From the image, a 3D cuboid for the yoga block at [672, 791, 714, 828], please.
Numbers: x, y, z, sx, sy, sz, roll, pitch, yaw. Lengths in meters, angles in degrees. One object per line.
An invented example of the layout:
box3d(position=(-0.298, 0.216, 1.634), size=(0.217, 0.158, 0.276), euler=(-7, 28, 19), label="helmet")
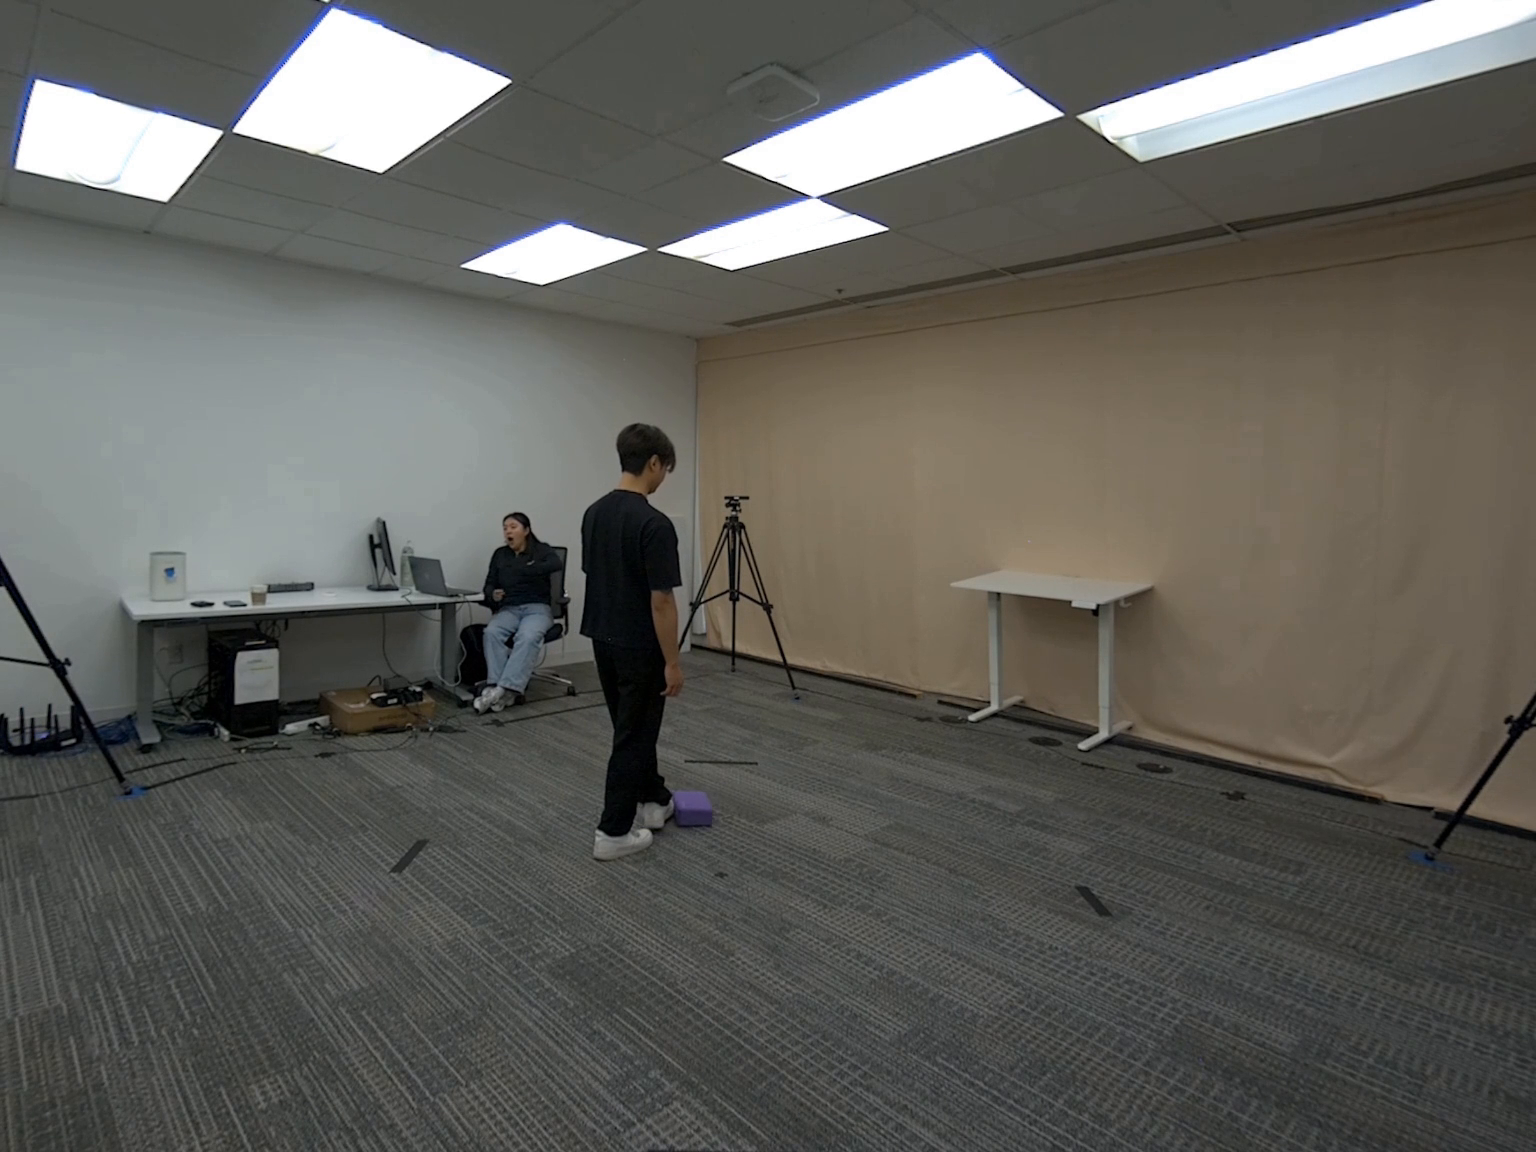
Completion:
box3d(position=(-0.337, 1.007, 3.660), size=(0.148, 0.076, 0.232), euler=(4, 5, -11), label="yoga block")
